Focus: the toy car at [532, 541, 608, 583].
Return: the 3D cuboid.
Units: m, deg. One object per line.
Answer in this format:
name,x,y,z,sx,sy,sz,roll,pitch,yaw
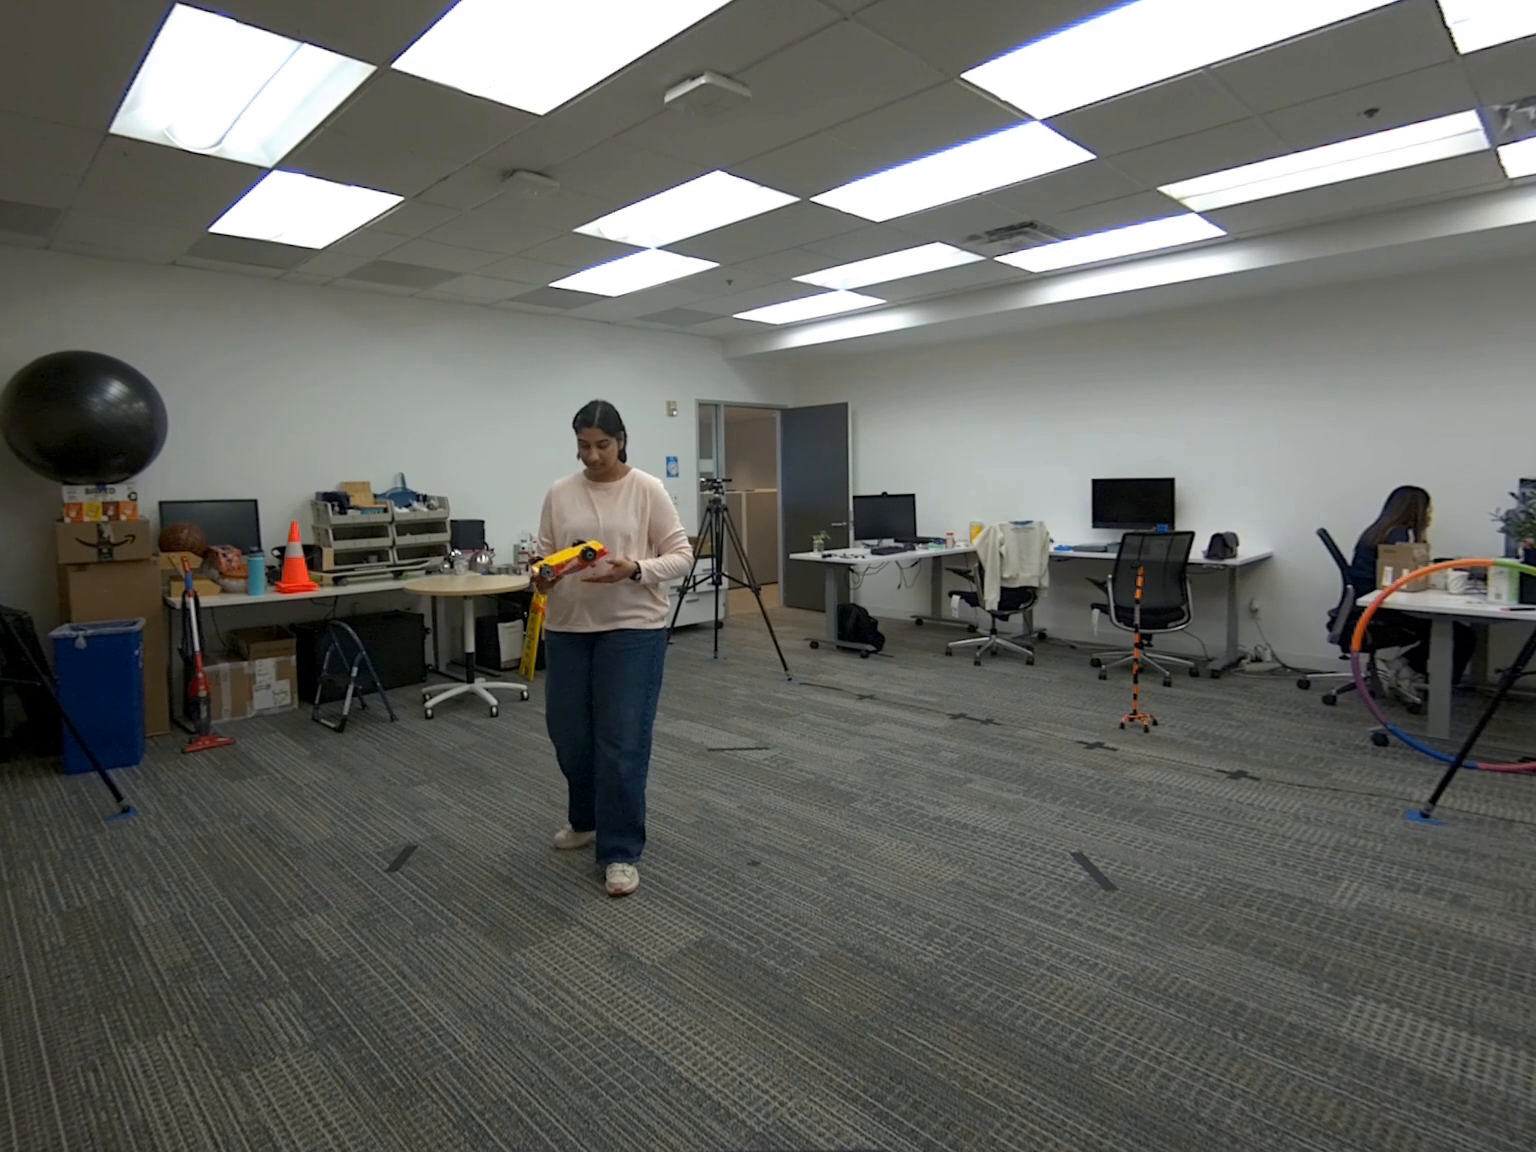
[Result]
toy car,-0.648,-0.055,2.776,0.250,0.082,0.135,-14,22,-26
